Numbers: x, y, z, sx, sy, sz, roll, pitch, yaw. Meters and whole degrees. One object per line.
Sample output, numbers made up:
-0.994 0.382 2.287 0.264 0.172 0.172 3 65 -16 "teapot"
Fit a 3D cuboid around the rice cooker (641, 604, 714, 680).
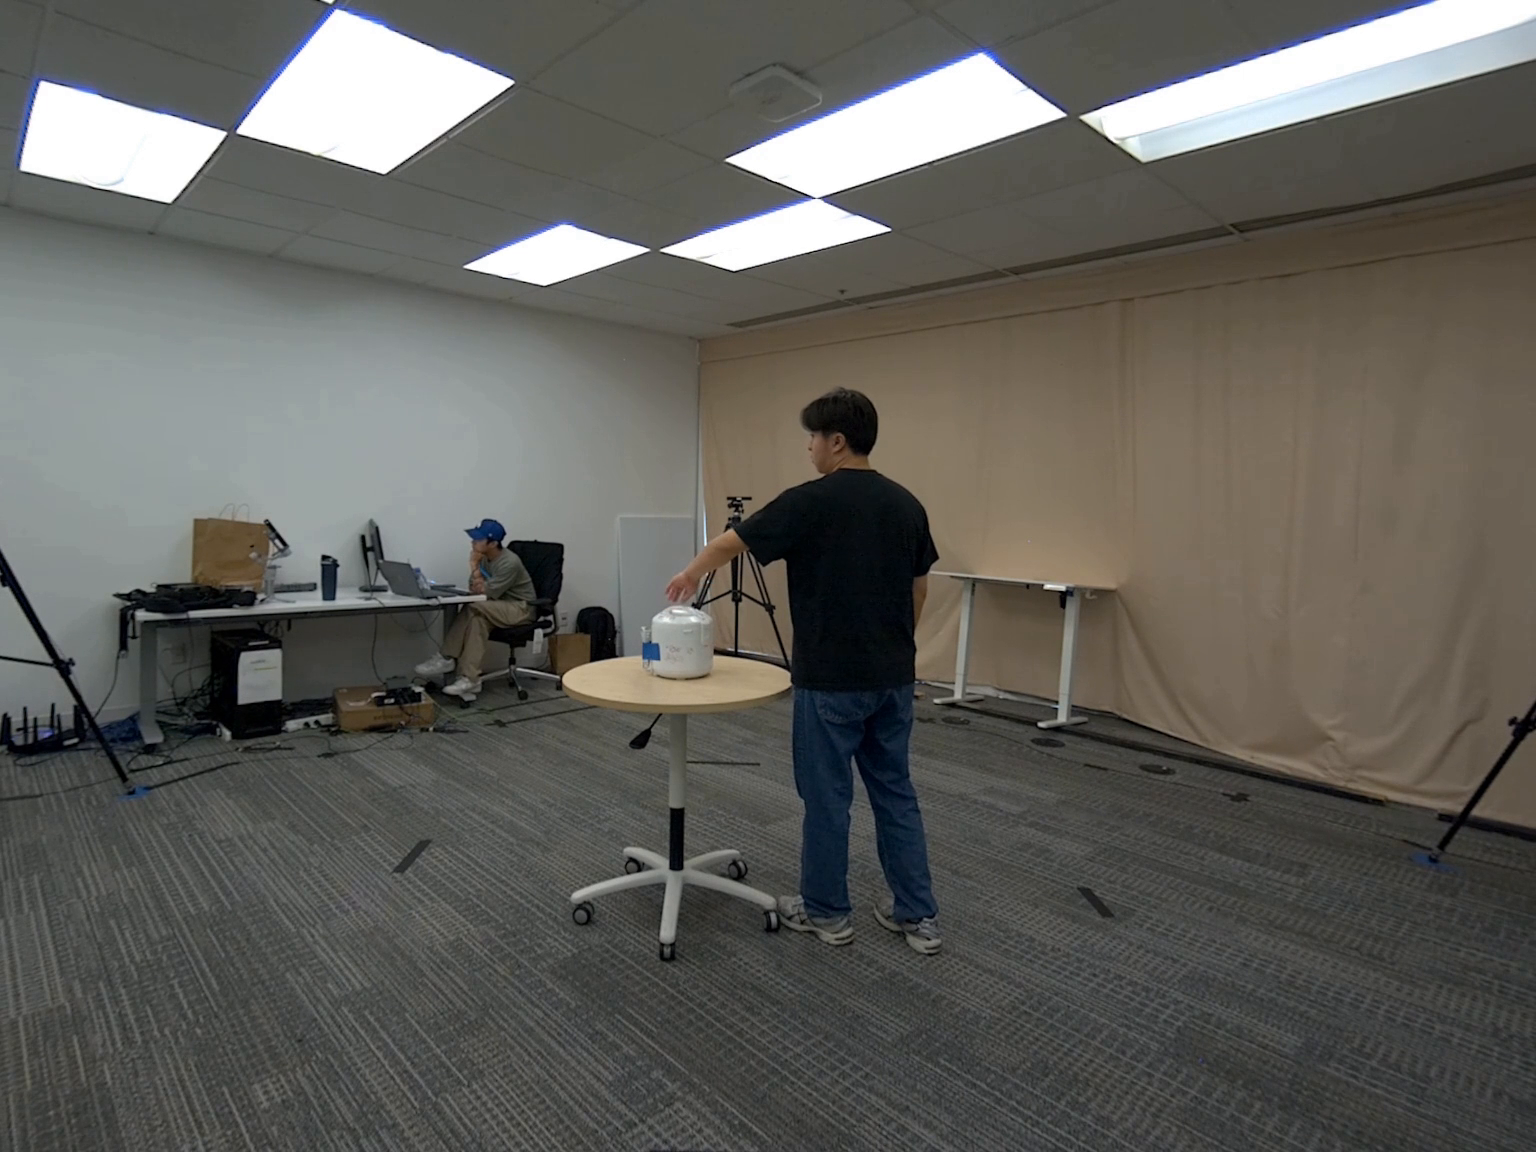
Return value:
-0.290 0.215 2.833 0.226 0.232 0.213 4 6 37 "rice cooker"
